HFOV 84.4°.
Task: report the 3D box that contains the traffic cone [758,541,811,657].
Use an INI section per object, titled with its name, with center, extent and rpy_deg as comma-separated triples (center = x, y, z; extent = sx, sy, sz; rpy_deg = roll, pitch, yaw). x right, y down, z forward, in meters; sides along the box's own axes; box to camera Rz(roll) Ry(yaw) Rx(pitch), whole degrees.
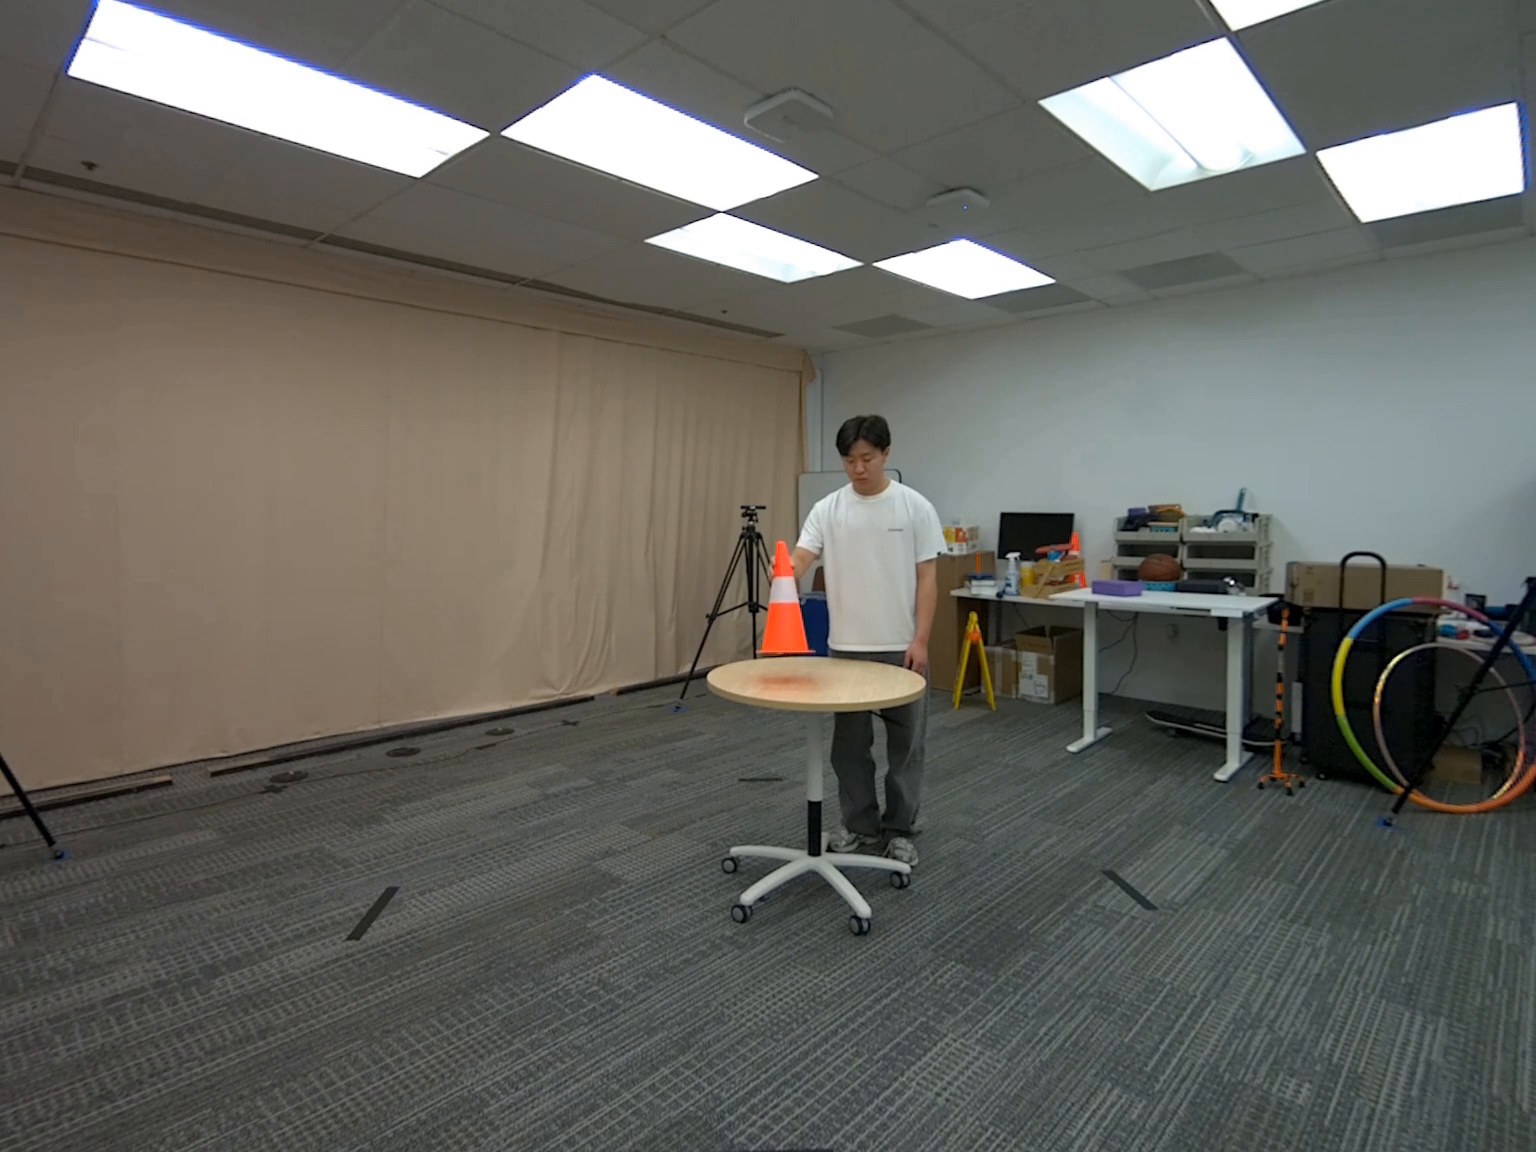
[traffic cone]
center = 0.056, 0.082, 2.929
extent = 0.205, 0.385, 0.202
rpy_deg = -1, -5, 0
